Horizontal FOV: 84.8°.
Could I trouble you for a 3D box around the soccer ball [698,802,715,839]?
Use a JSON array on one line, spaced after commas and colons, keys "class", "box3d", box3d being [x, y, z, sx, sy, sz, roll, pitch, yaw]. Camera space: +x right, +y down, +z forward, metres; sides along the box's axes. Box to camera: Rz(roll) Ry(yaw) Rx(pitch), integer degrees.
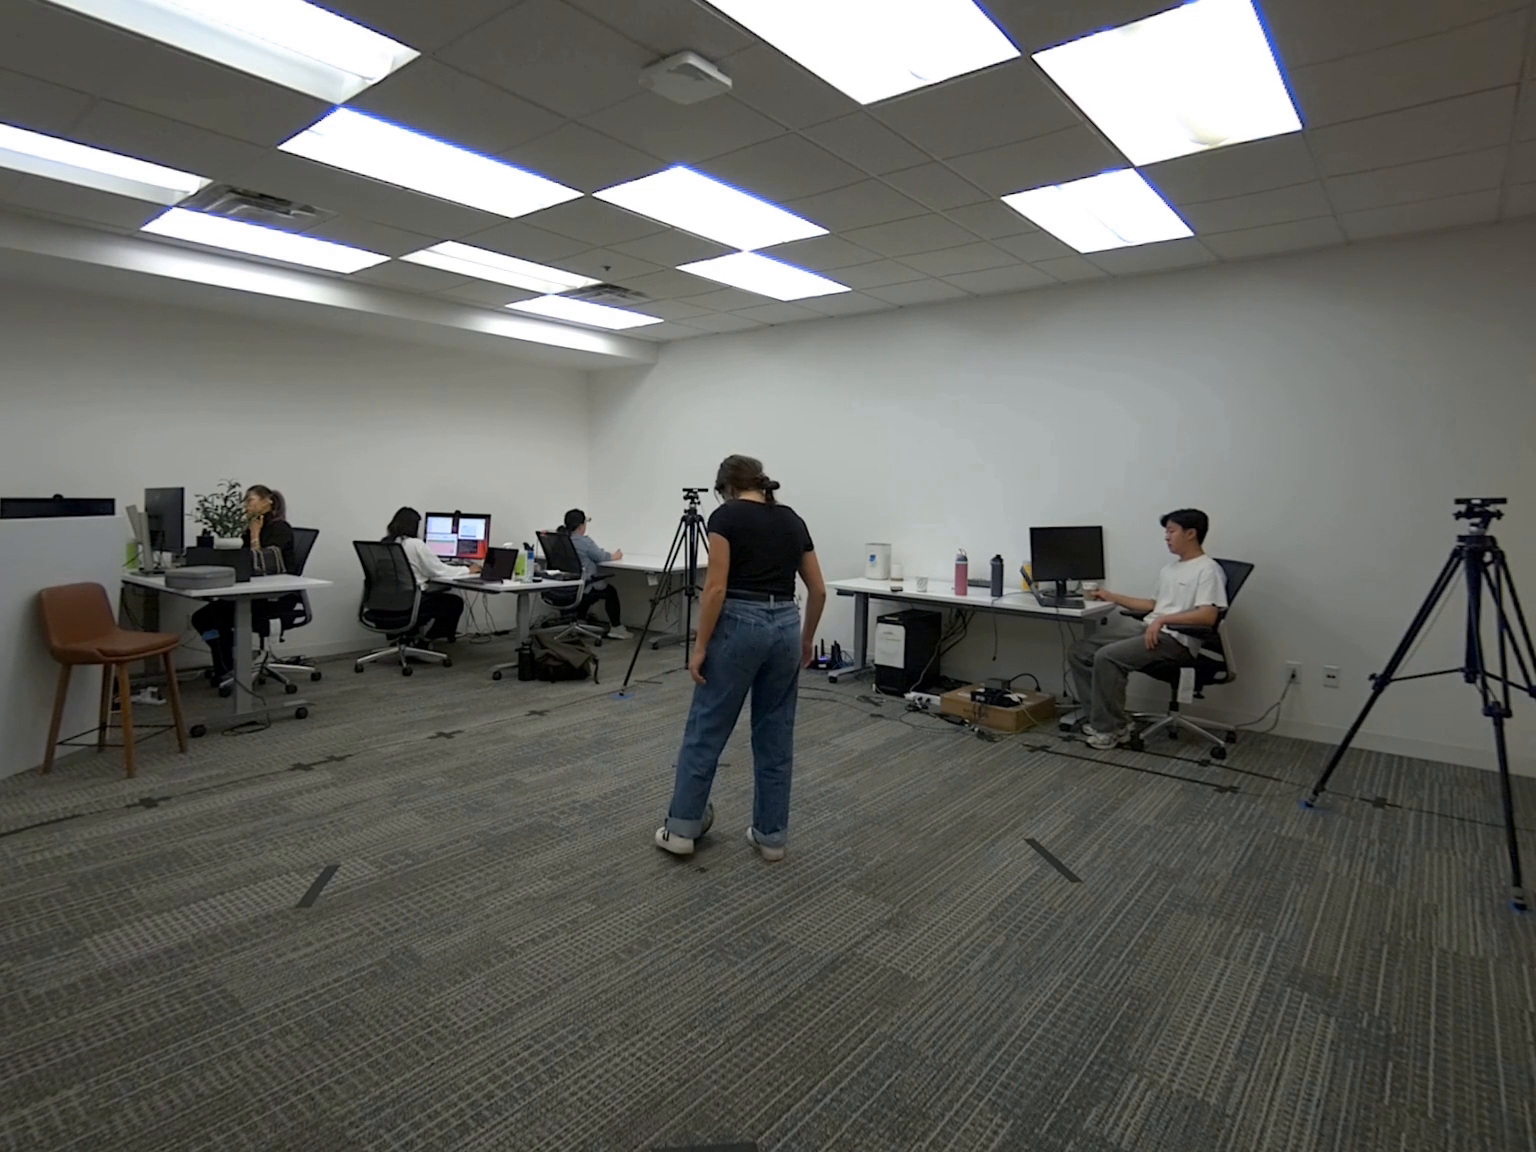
[{"class": "soccer ball", "box3d": [-0.281, 0.936, 3.399, 0.187, 0.187, 0.188, 1, 4, -2]}]
